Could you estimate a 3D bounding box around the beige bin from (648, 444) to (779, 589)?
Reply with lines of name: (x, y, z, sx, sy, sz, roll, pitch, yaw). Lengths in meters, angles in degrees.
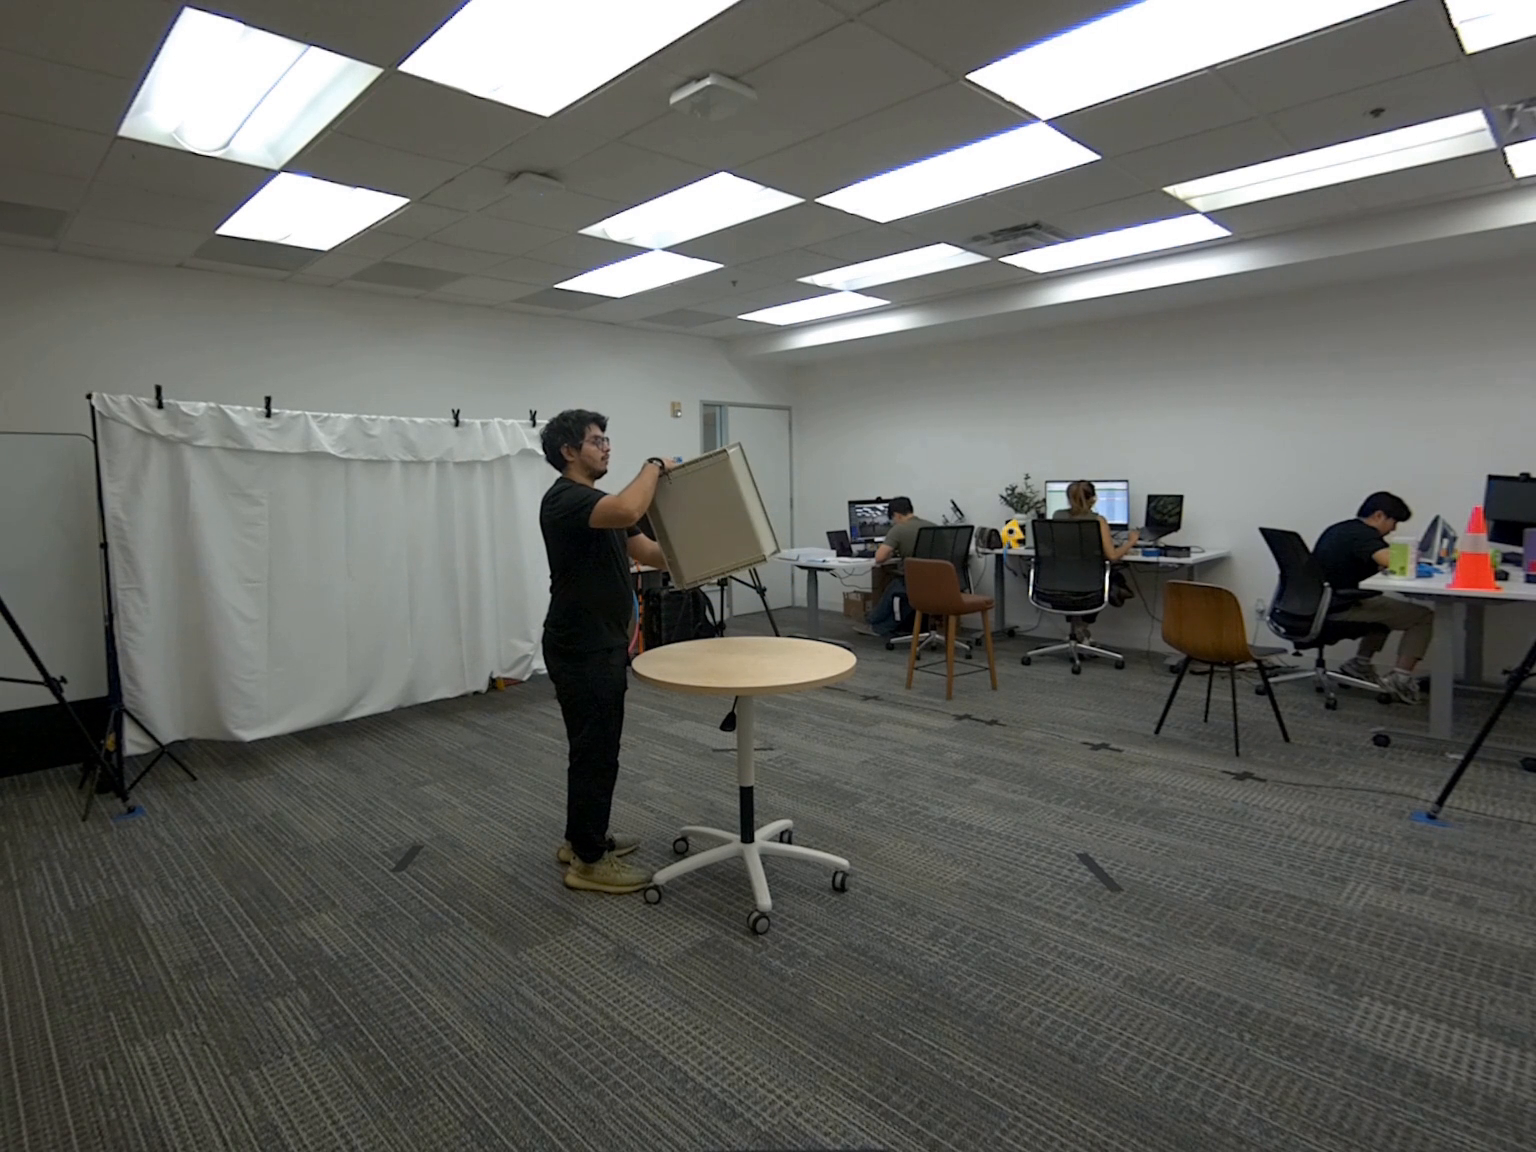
beige bin: (-0.209, -0.206, 3.005, 0.382, 0.420, 0.188, -18, 5, 19)
